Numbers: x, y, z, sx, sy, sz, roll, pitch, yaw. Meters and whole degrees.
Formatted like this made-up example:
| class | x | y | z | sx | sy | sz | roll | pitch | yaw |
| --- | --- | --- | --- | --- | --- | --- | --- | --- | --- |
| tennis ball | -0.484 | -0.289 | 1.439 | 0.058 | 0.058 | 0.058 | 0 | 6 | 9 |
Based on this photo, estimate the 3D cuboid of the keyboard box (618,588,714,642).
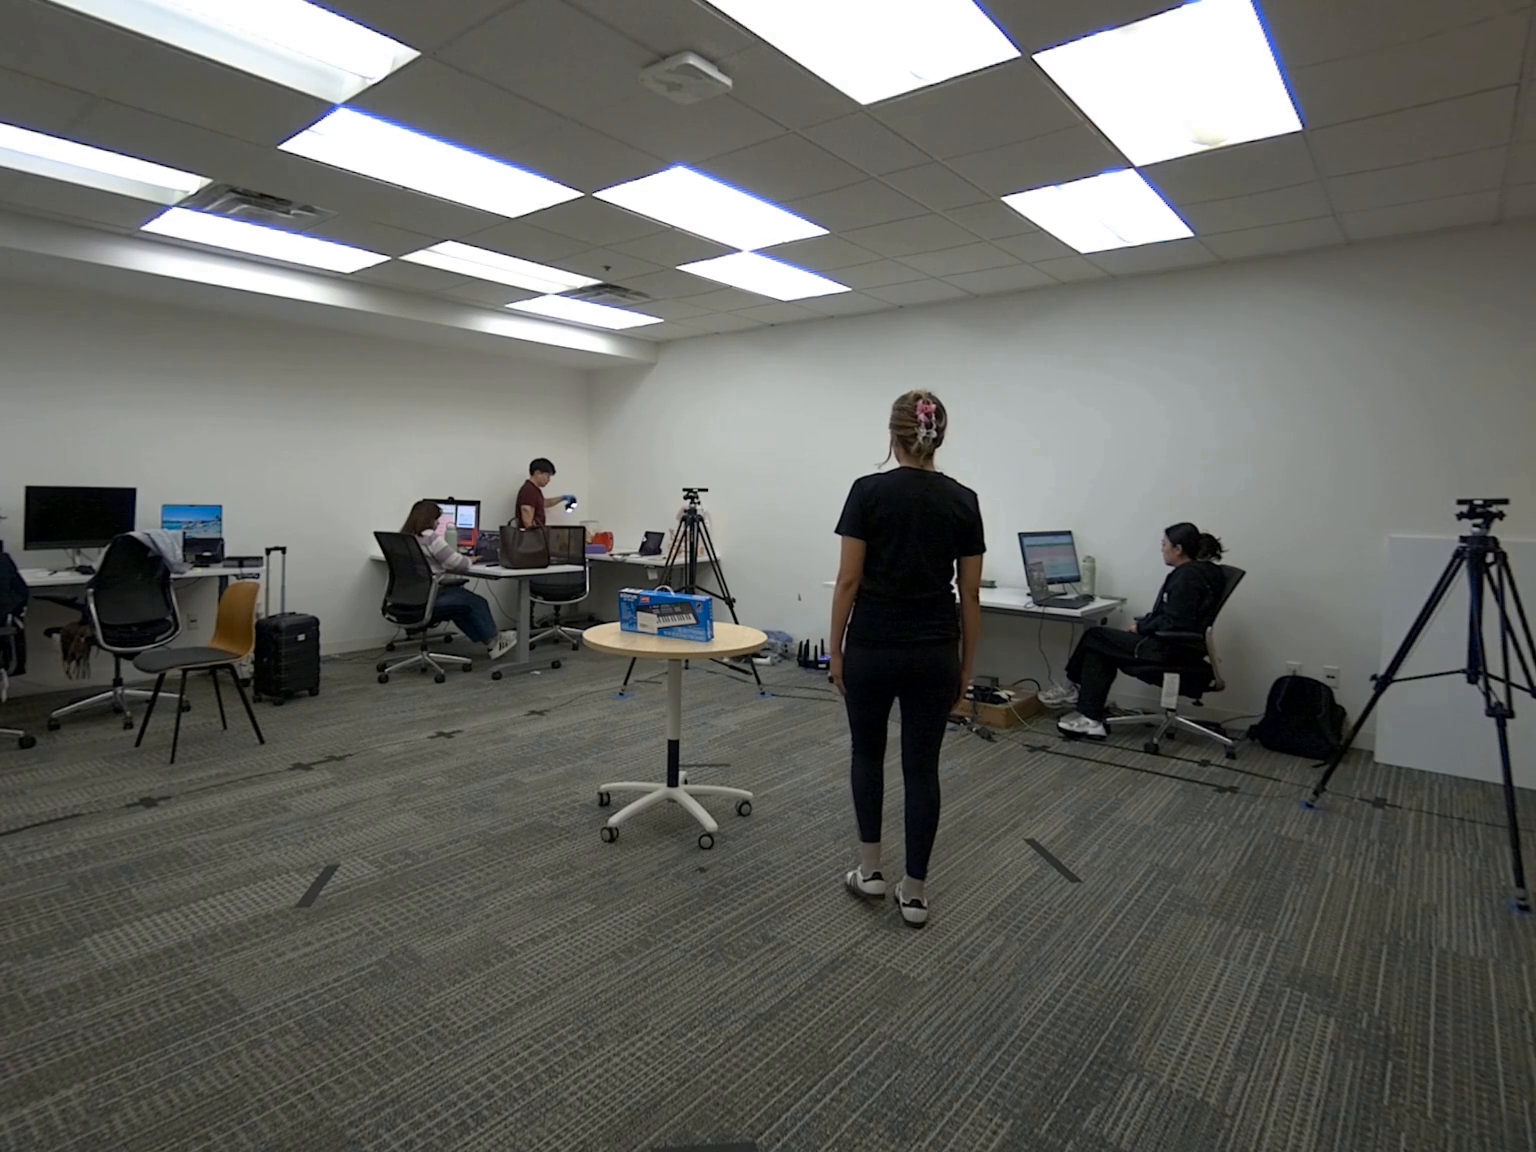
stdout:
| class | x | y | z | sx | sy | sz | roll | pitch | yaw |
| --- | --- | --- | --- | --- | --- | --- | --- | --- | --- |
| keyboard box | -0.438 | 0.157 | 3.504 | 0.450 | 0.174 | 0.058 | 5 | 12 | 31 |
